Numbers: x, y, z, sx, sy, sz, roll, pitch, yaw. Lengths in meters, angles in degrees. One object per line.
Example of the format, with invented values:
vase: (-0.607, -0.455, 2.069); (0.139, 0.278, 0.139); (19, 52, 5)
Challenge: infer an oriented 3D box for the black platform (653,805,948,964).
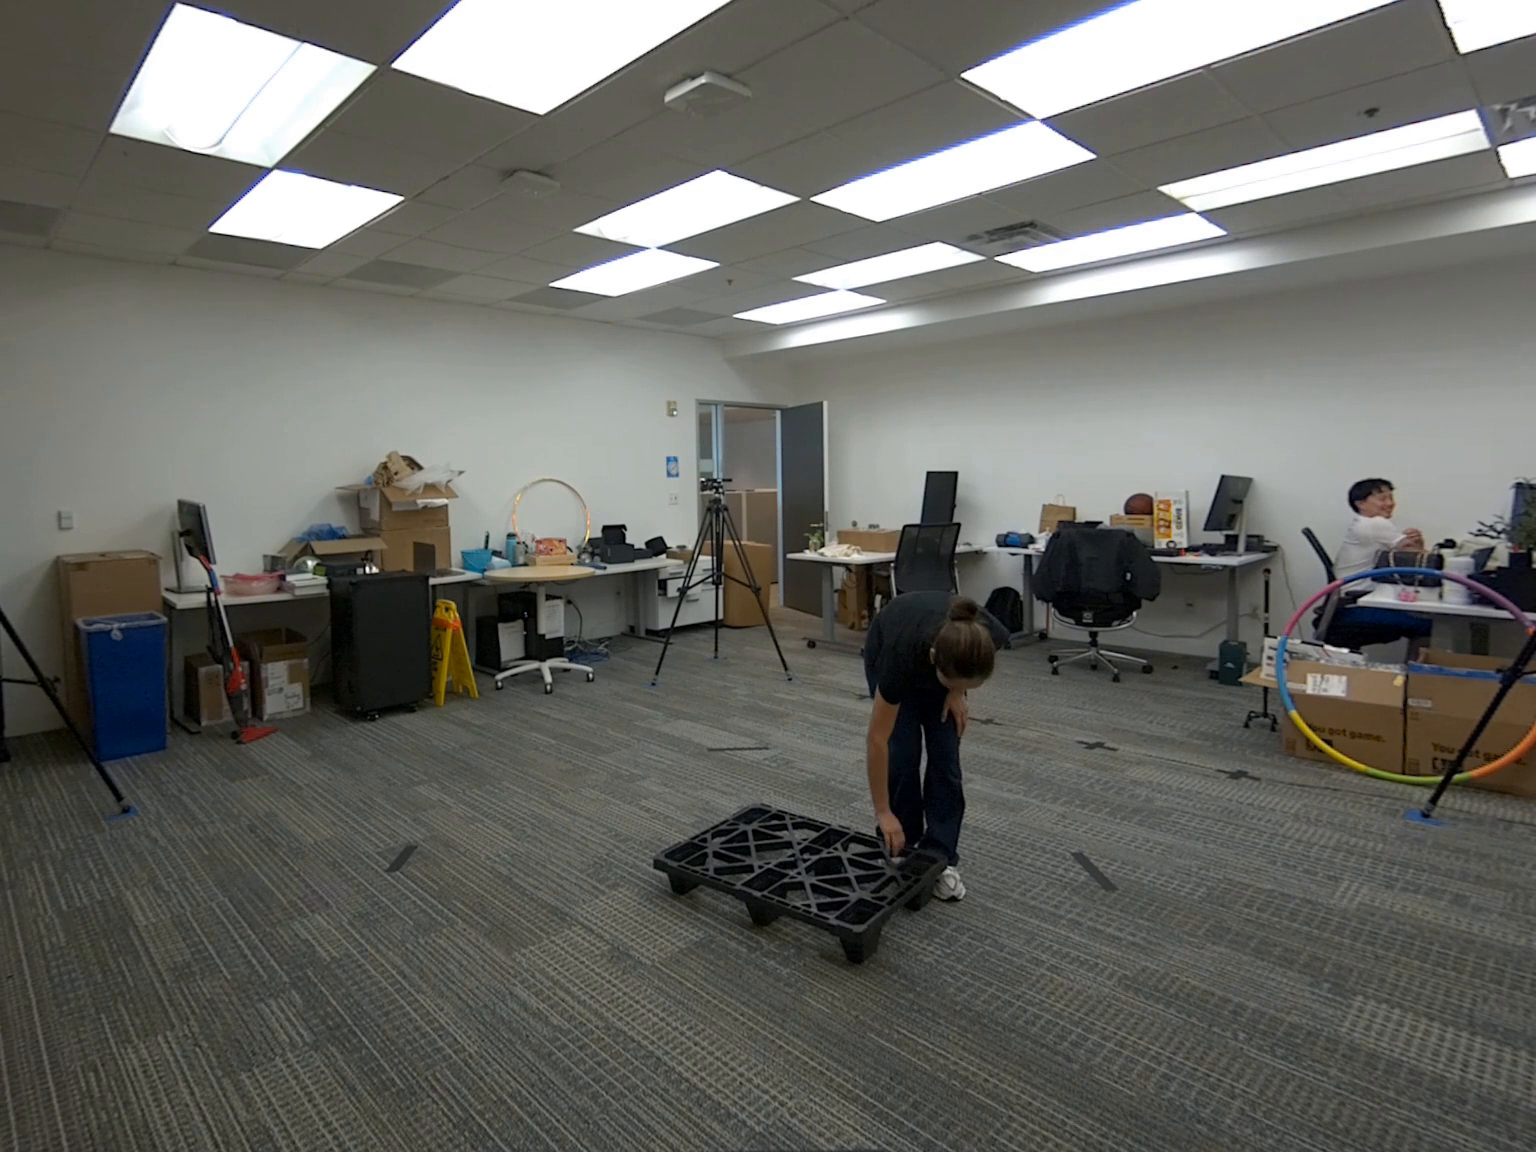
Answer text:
black platform: (0.102, 1.002, 2.871); (0.830, 0.143, 0.590); (4, 8, 37)
